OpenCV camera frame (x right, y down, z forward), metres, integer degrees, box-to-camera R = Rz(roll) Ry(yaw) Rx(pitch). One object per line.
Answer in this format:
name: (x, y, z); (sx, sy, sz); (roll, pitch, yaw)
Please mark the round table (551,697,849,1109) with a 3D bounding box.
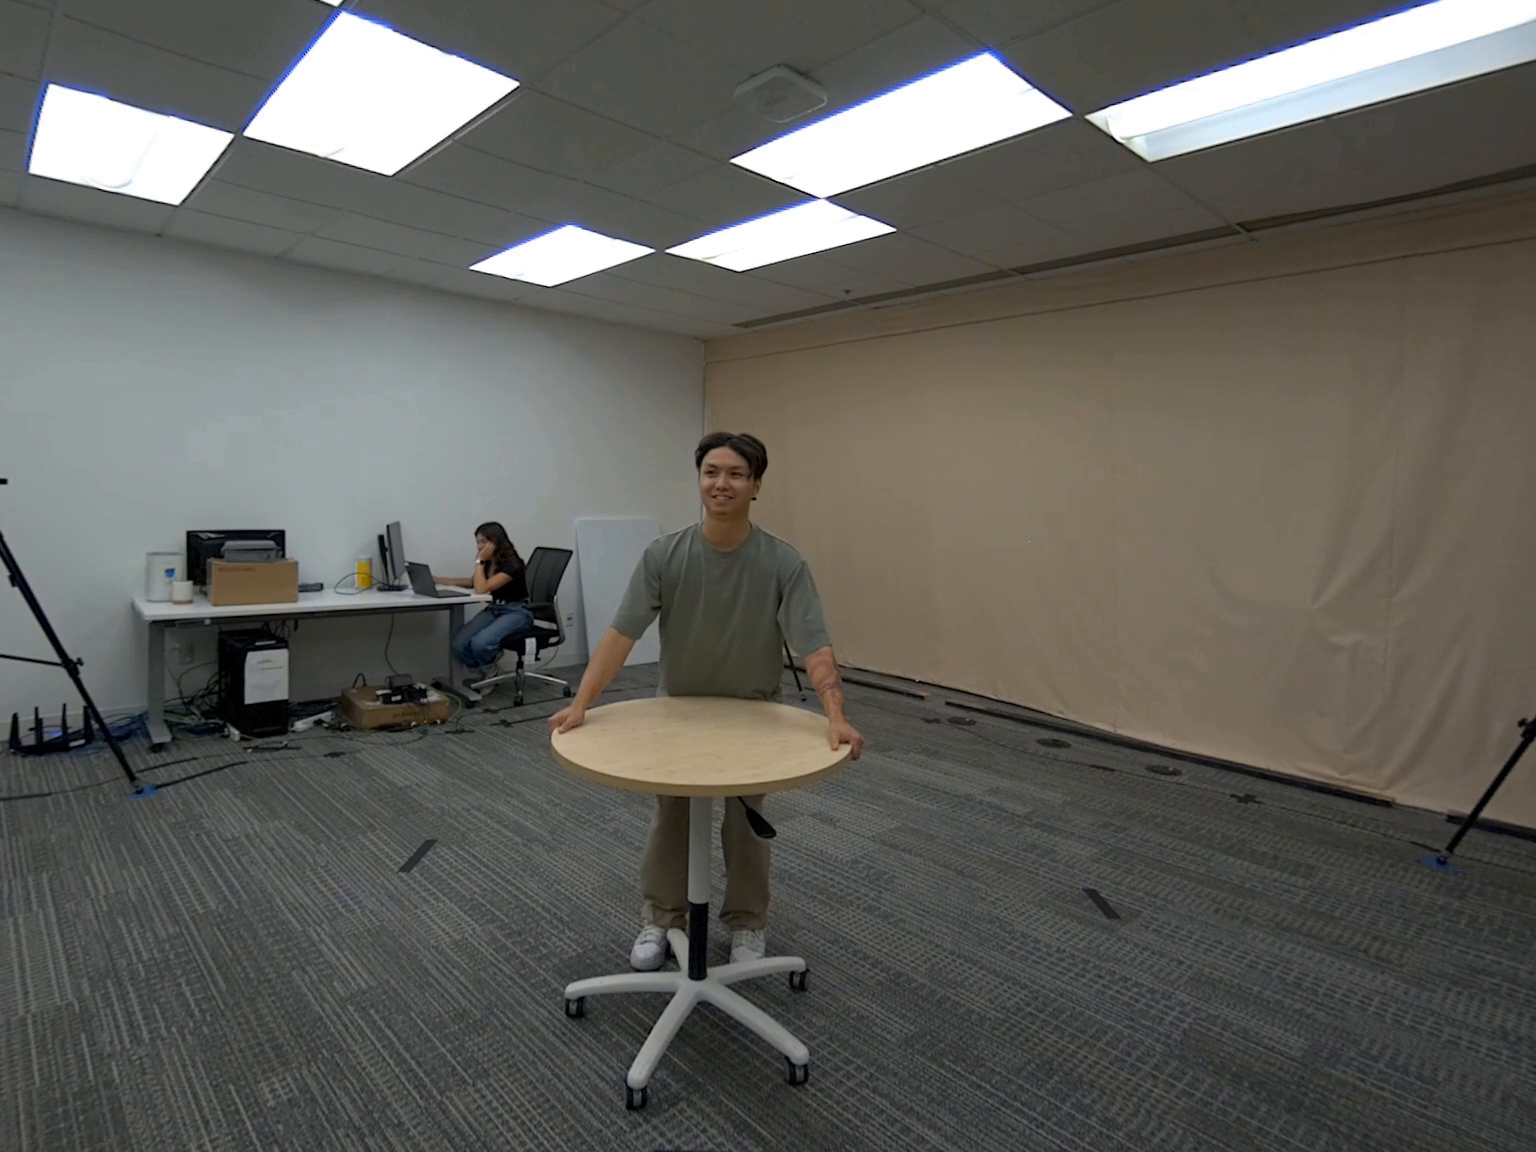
round table: (-0.194, 0.795, 2.197); (0.784, 0.784, 0.788); (2, 5, -2)
